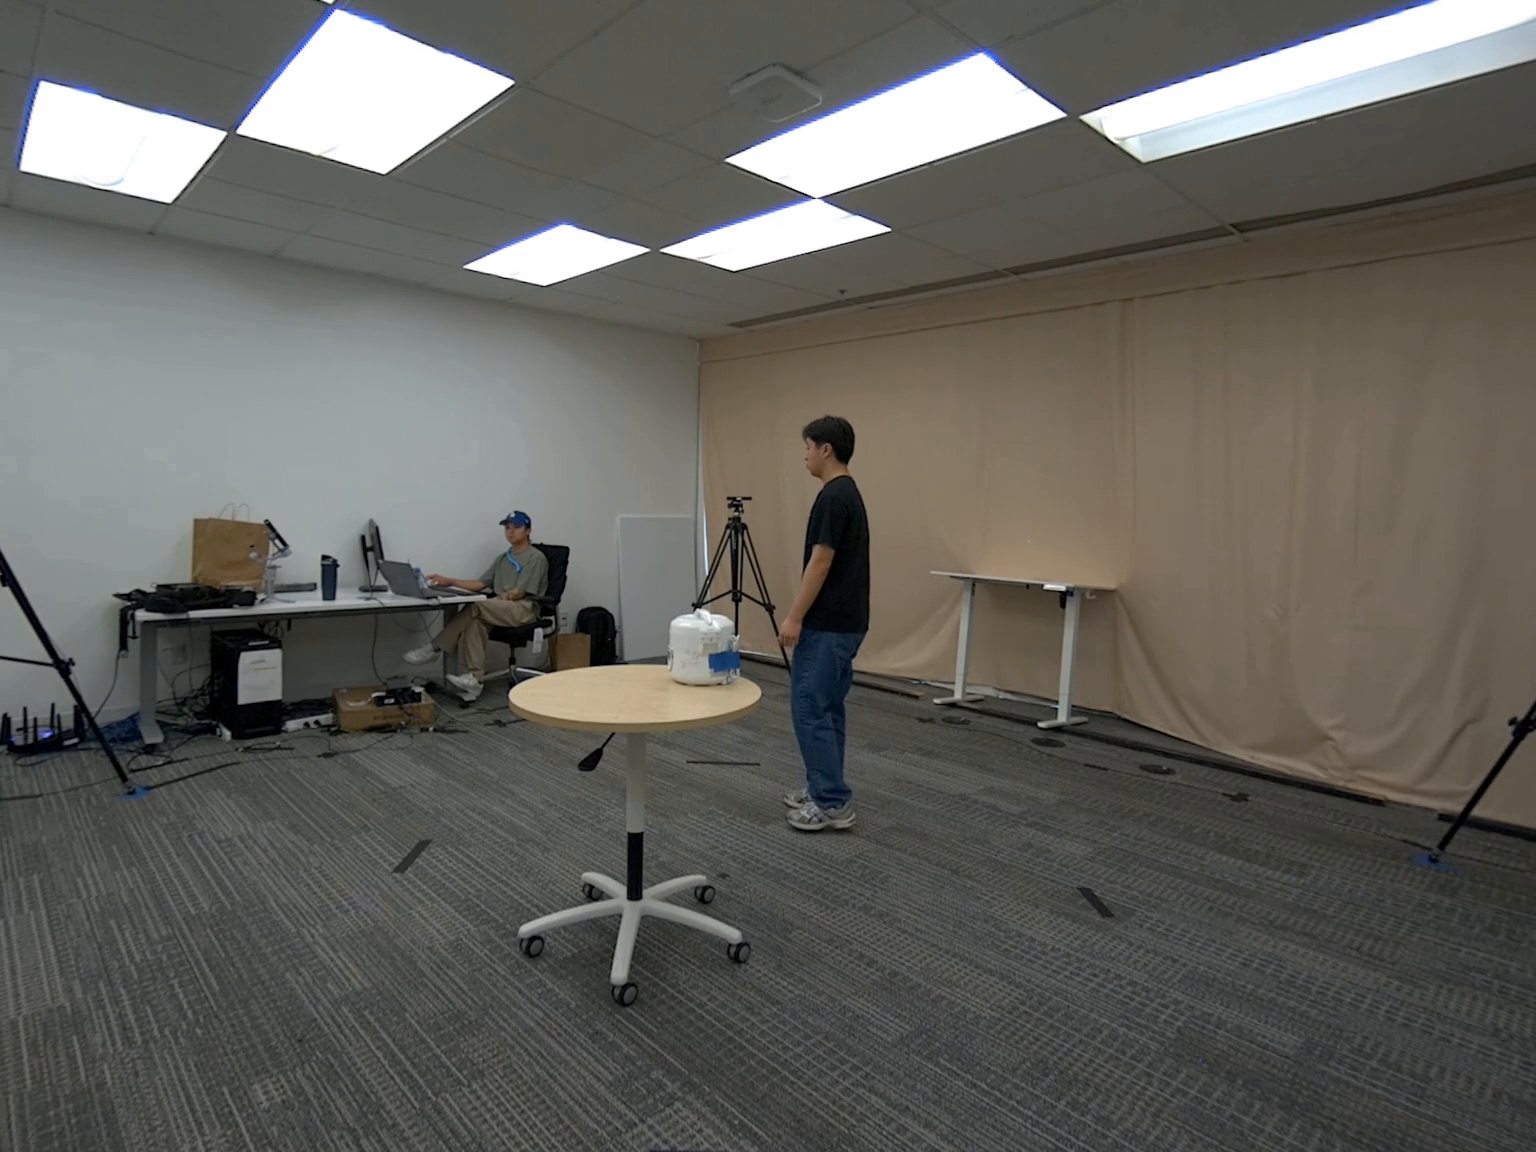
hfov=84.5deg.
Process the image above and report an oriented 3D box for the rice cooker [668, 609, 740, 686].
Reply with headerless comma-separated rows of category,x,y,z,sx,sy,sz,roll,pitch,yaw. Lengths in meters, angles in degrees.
rice cooker,-0.217,0.227,2.720,0.214,0.232,0.224,1,3,-17
